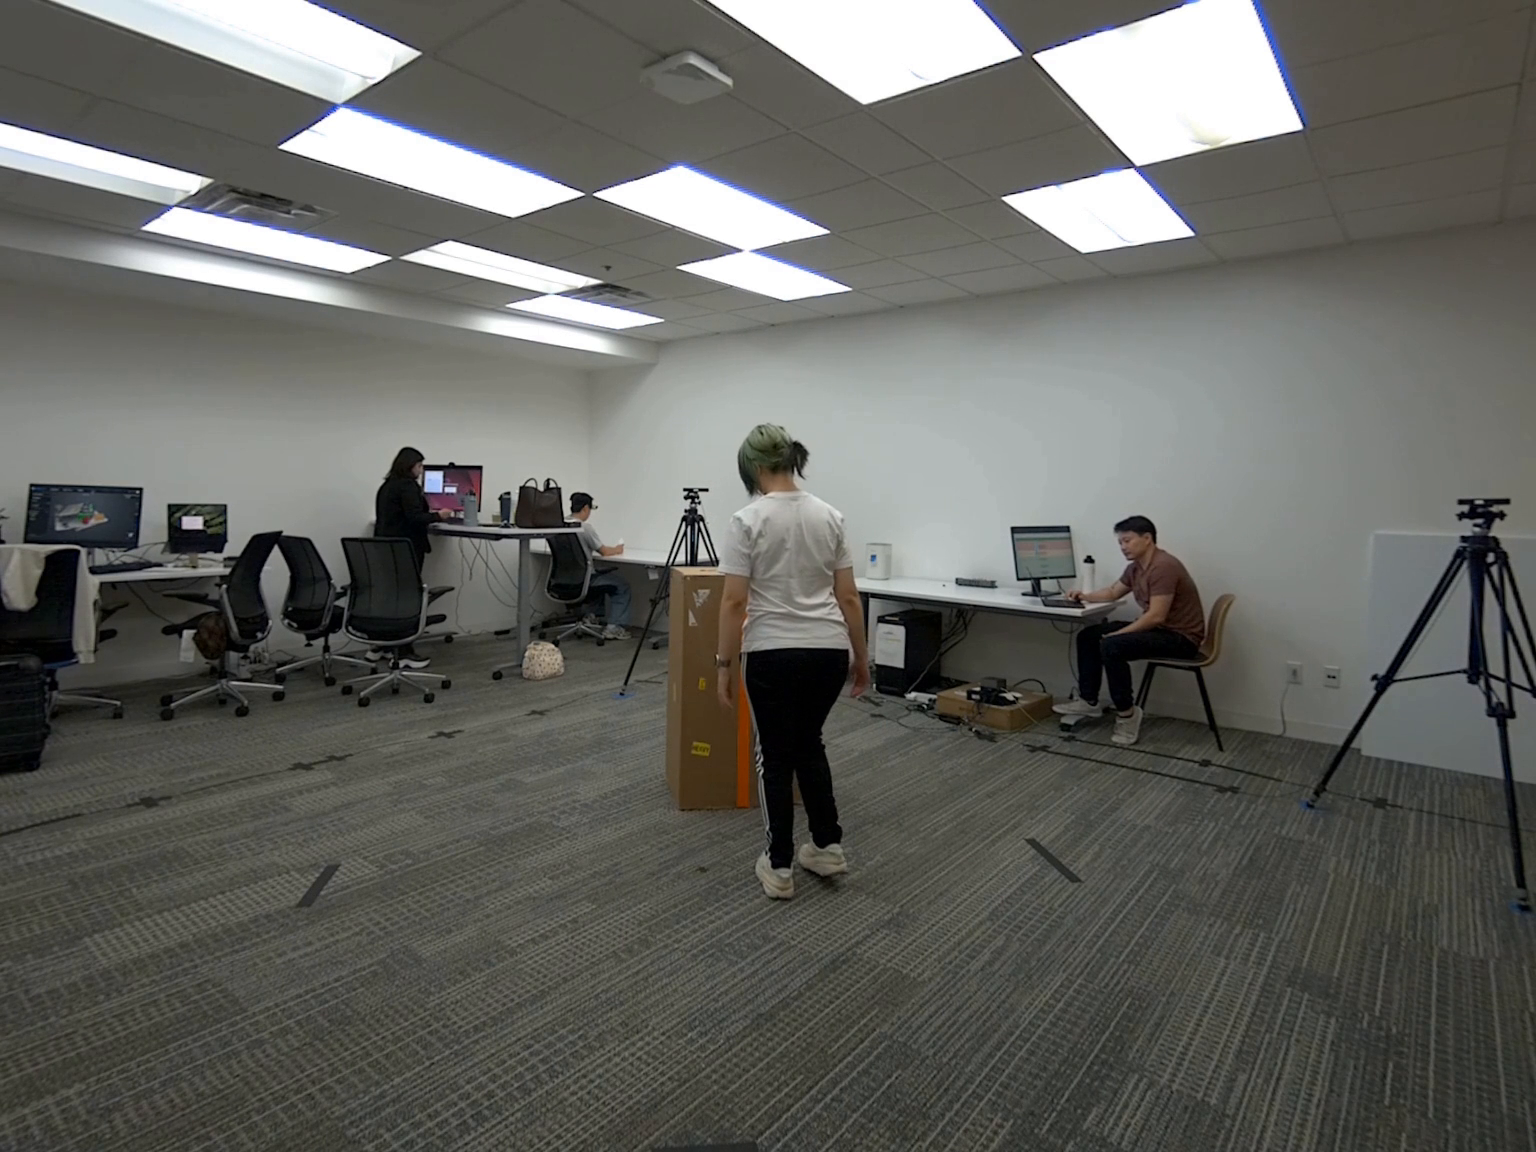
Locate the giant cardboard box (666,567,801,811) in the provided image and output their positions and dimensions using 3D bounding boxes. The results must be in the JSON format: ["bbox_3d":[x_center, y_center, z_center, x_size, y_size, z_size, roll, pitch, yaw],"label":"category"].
[{"bbox_3d":[-0.160,0.485,3.912,0.576,1.025,0.454,1,2,-13],"label":"giant cardboard box"}]
